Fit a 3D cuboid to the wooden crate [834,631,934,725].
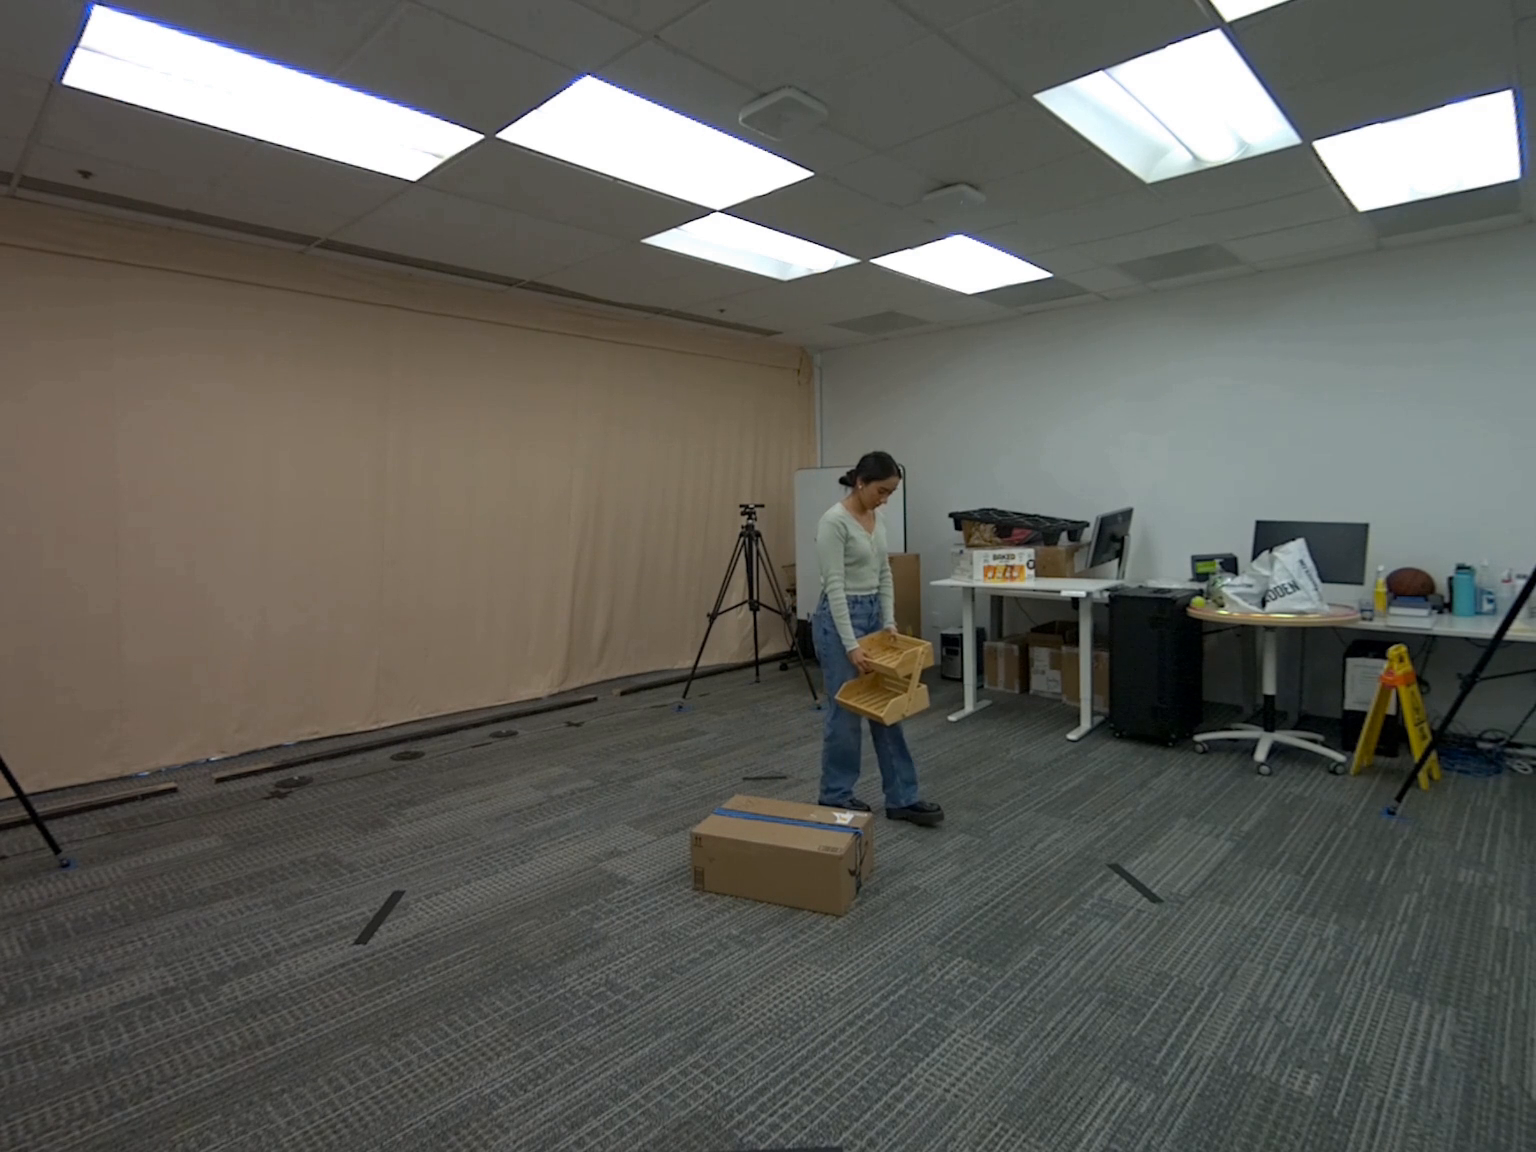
[{"bbox_3d":[0.483,0.408,3.485,0.295,0.271,0.335,-16,14,-29],"label":"wooden crate"}]
